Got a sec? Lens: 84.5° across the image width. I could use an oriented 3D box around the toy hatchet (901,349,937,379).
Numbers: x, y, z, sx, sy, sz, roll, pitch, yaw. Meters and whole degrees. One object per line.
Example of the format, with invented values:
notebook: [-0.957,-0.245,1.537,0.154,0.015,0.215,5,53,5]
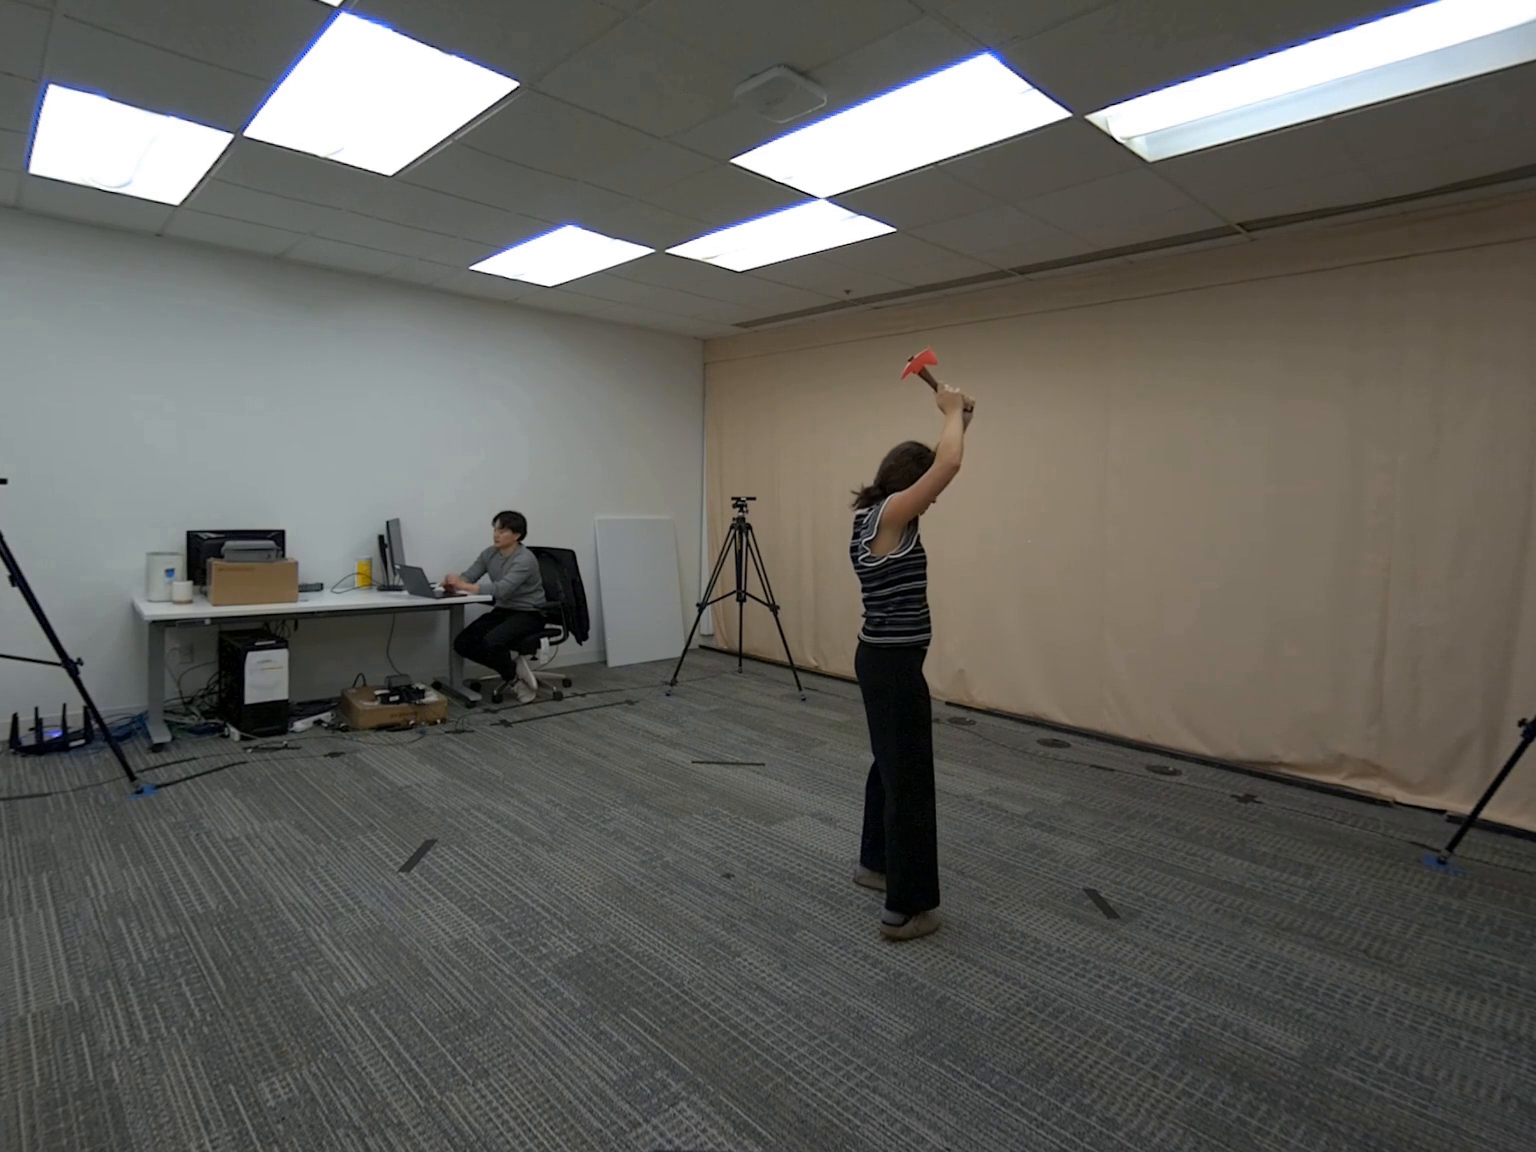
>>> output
toy hatchet: [0.578,-0.653,2.771,0.268,0.131,0.030,25,3,-6]
